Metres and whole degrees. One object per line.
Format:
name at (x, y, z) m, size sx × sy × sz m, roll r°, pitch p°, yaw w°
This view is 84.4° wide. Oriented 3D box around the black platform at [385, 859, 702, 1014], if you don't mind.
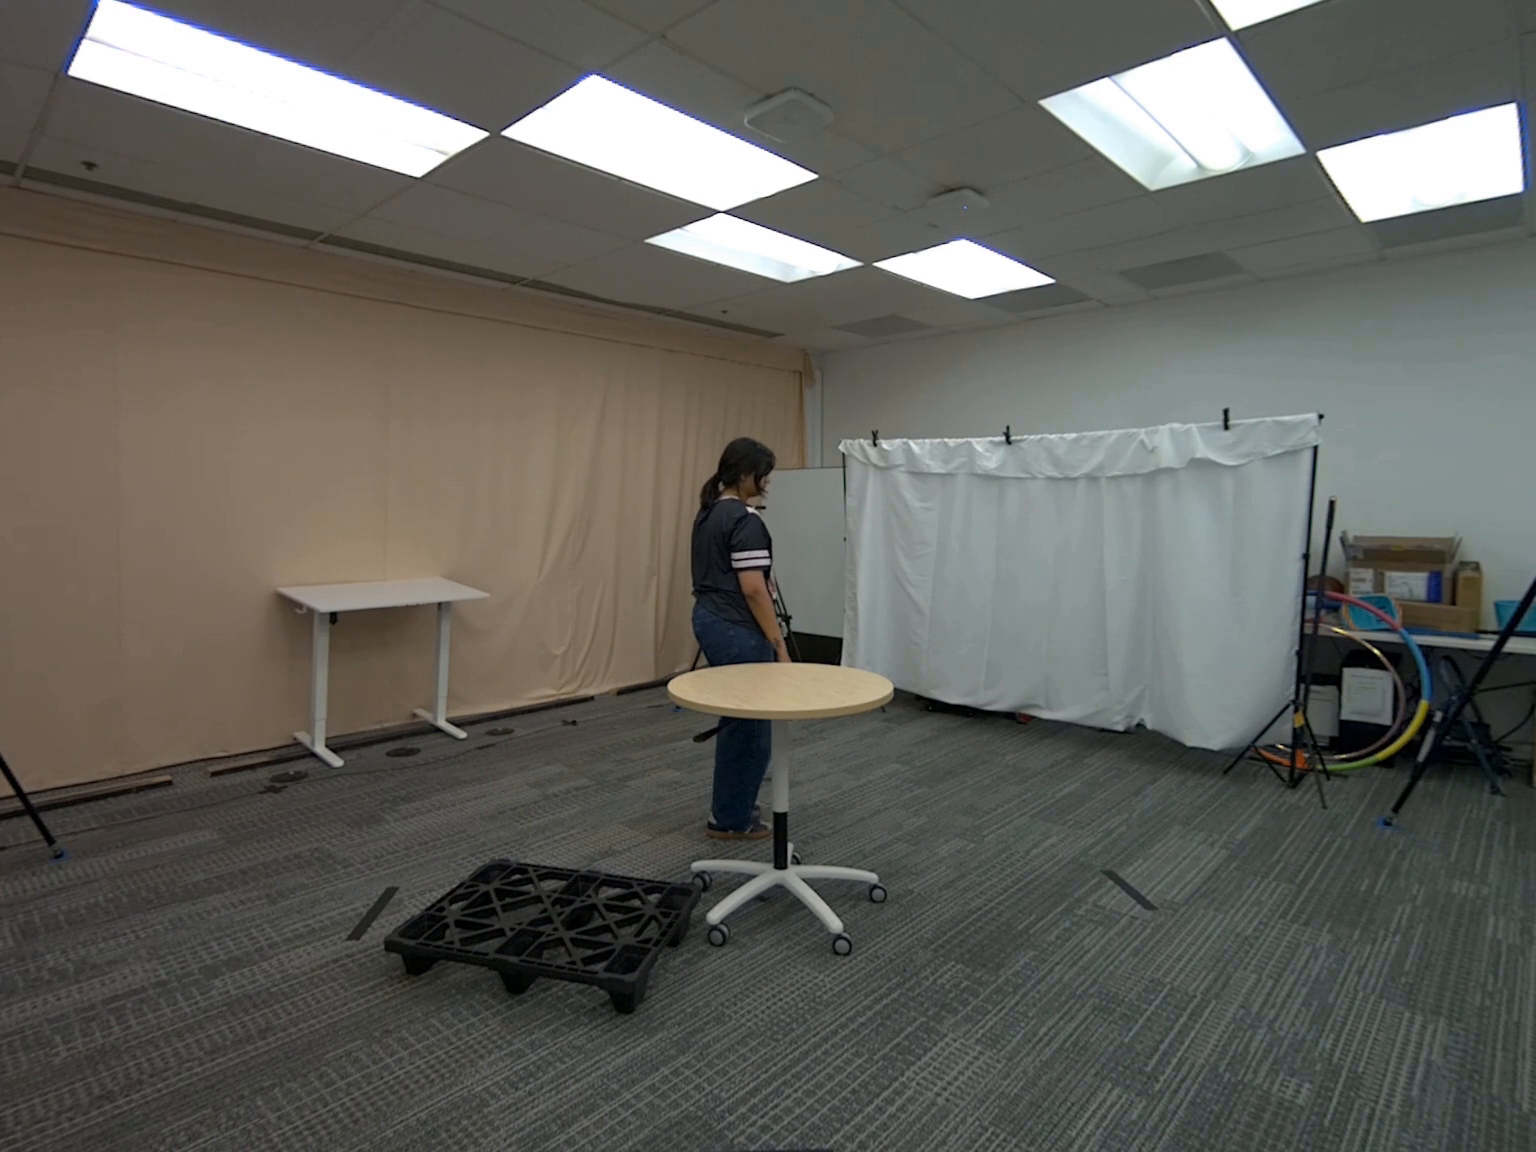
black platform at (-0.677, 1.110, 2.635) m, size 0.820 × 0.143 × 0.596 m, roll 1°, pitch 4°, yaw 16°
